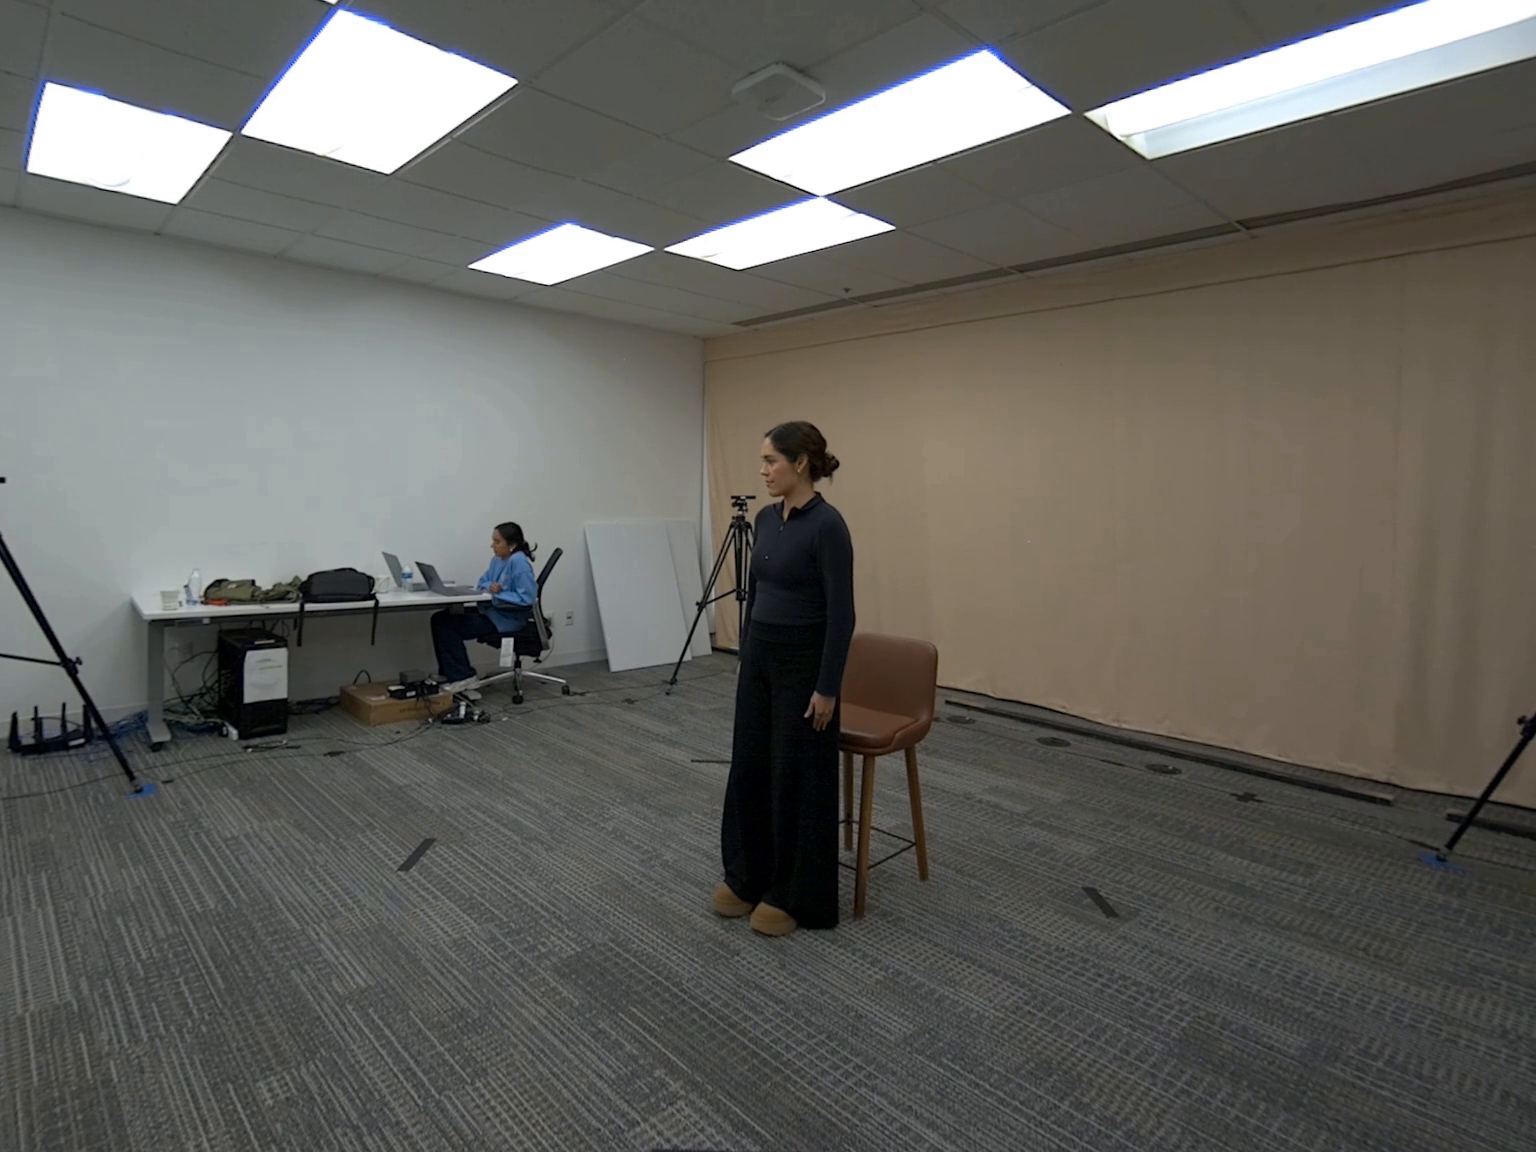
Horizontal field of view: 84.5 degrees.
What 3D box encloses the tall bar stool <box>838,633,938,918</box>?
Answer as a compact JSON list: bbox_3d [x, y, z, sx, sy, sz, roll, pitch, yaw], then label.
[{"bbox_3d":[0.323,0.682,3.065,0.468,0.889,0.456,5,3,44],"label":"tall bar stool"}]
